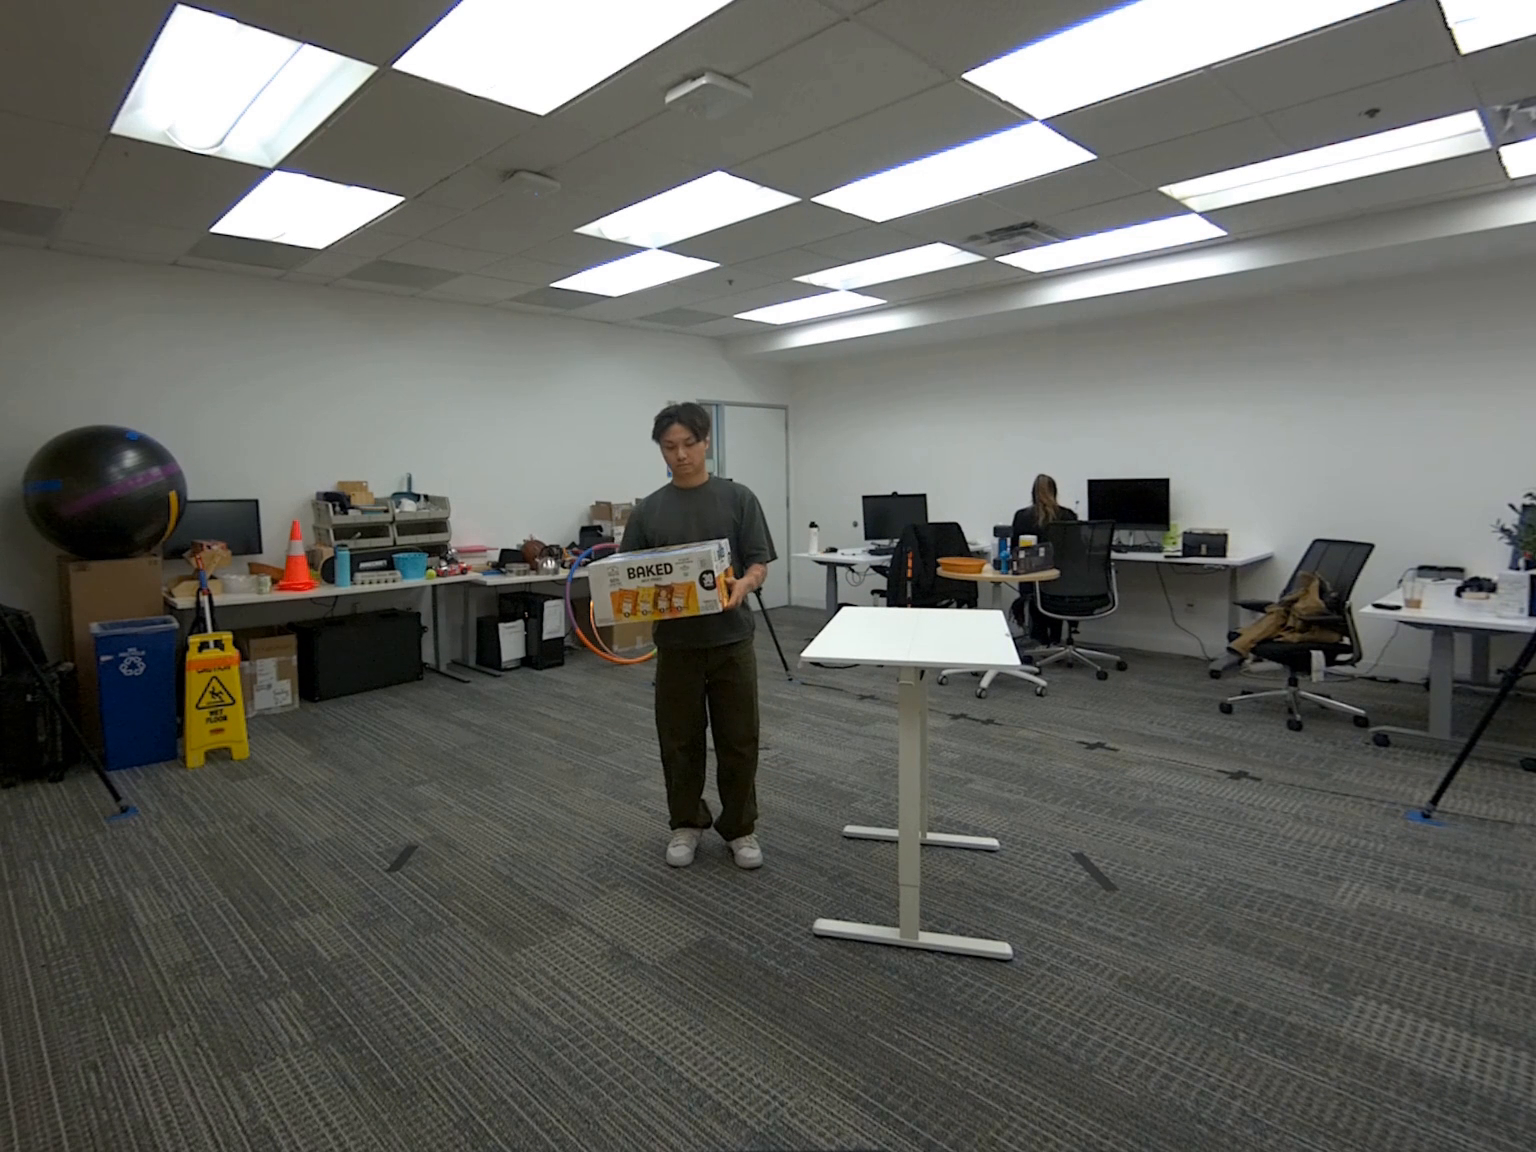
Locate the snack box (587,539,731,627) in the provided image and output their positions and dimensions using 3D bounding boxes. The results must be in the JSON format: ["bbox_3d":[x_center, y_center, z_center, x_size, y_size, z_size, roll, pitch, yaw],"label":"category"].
[{"bbox_3d":[-0.340,0.019,2.831,0.408,0.205,0.339,-8,5,8],"label":"snack box"}]
